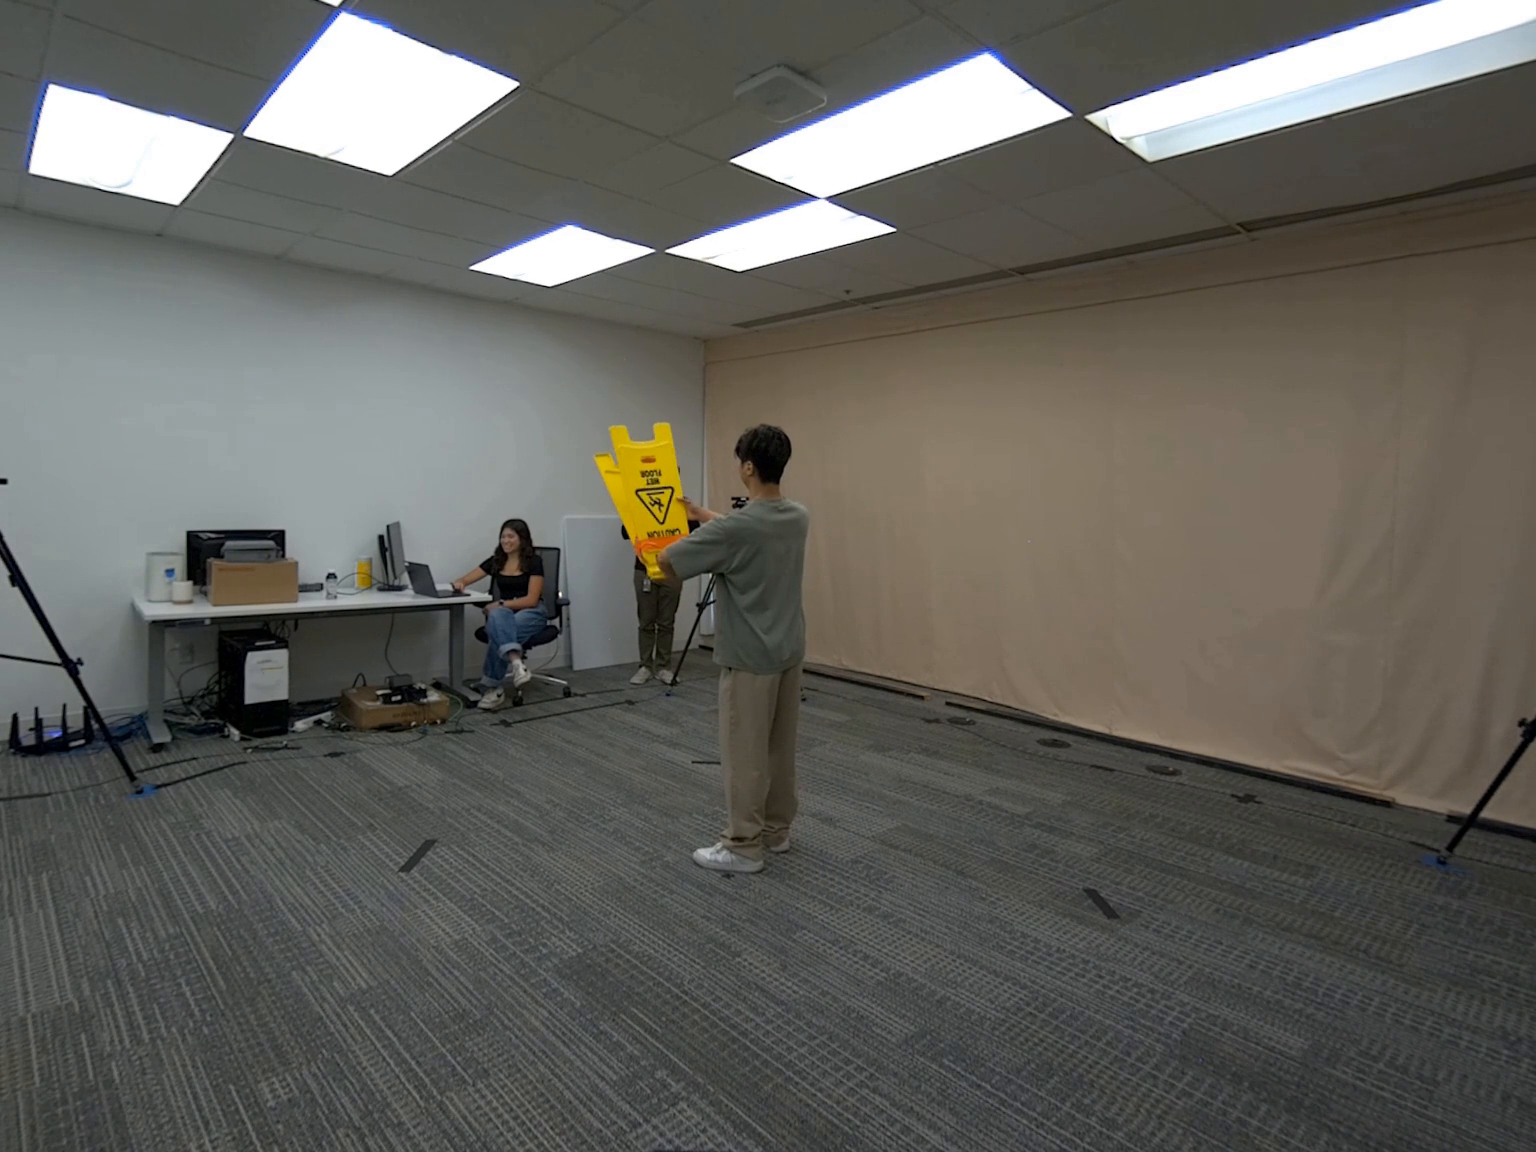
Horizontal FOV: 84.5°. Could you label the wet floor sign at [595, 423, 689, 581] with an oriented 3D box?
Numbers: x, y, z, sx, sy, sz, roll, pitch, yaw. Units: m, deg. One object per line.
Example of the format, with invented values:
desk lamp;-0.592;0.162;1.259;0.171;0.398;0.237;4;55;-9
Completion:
wet floor sign;-0.500;-0.293;3.539;0.277;0.656;0.290;-10;-19;-30
